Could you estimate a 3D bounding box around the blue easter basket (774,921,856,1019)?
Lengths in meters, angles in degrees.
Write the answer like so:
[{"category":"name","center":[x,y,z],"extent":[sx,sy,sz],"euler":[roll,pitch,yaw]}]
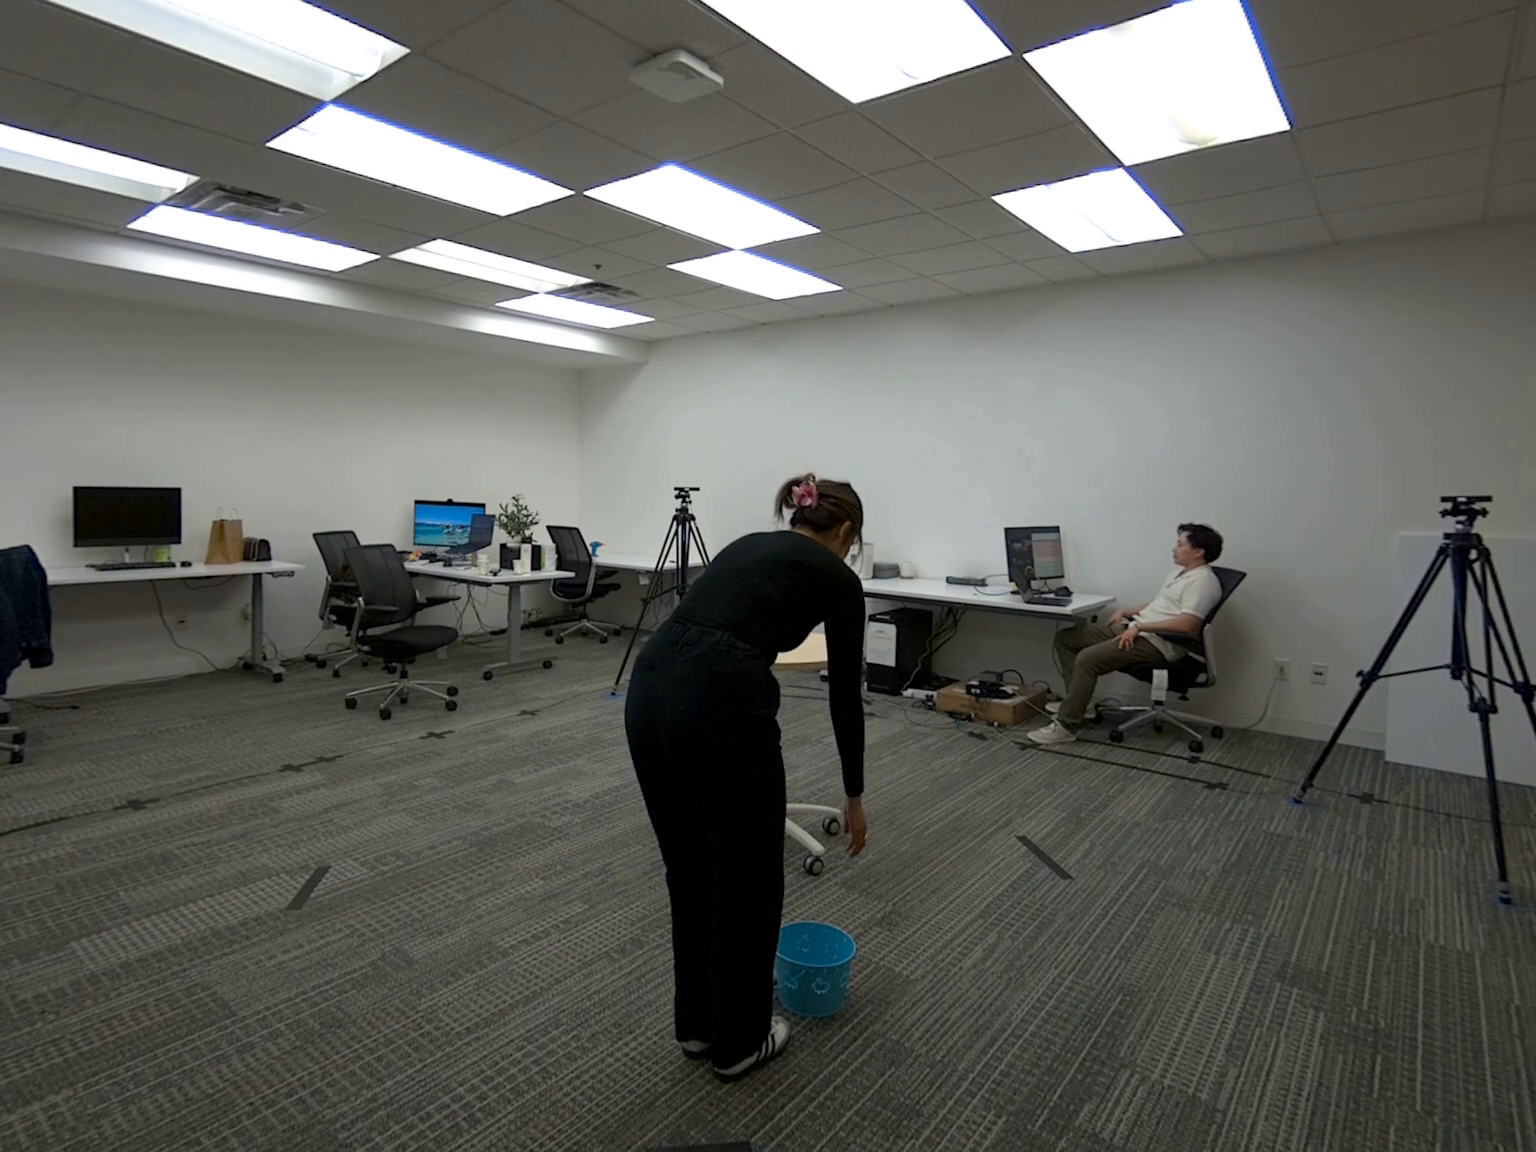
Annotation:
[{"category":"blue easter basket","center":[0.110,1.078,2.326],"extent":[0.243,0.155,0.245],"euler":[2,6,-2]}]
